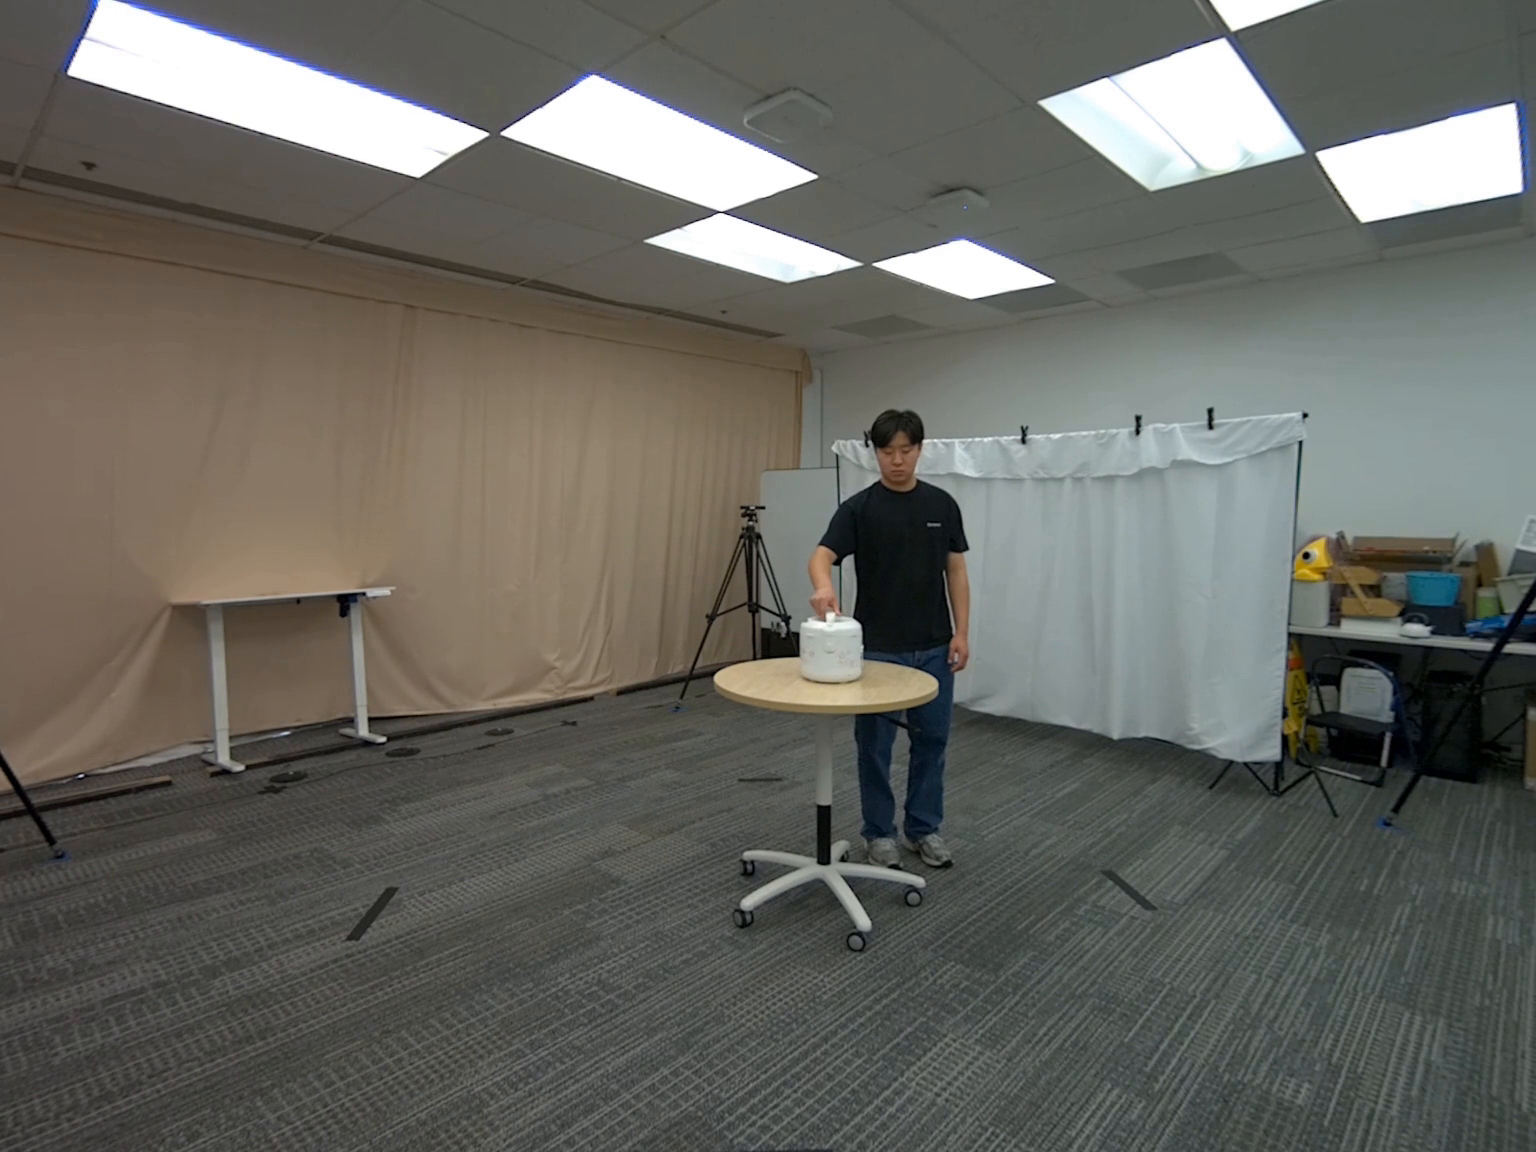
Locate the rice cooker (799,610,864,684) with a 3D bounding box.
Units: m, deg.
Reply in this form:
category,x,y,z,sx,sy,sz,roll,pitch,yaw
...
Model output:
category,x,y,z,sx,sy,sz,roll,pitch,yaw
rice cooker,0.220,0.239,2.902,0.219,0.232,0.219,0,4,8
